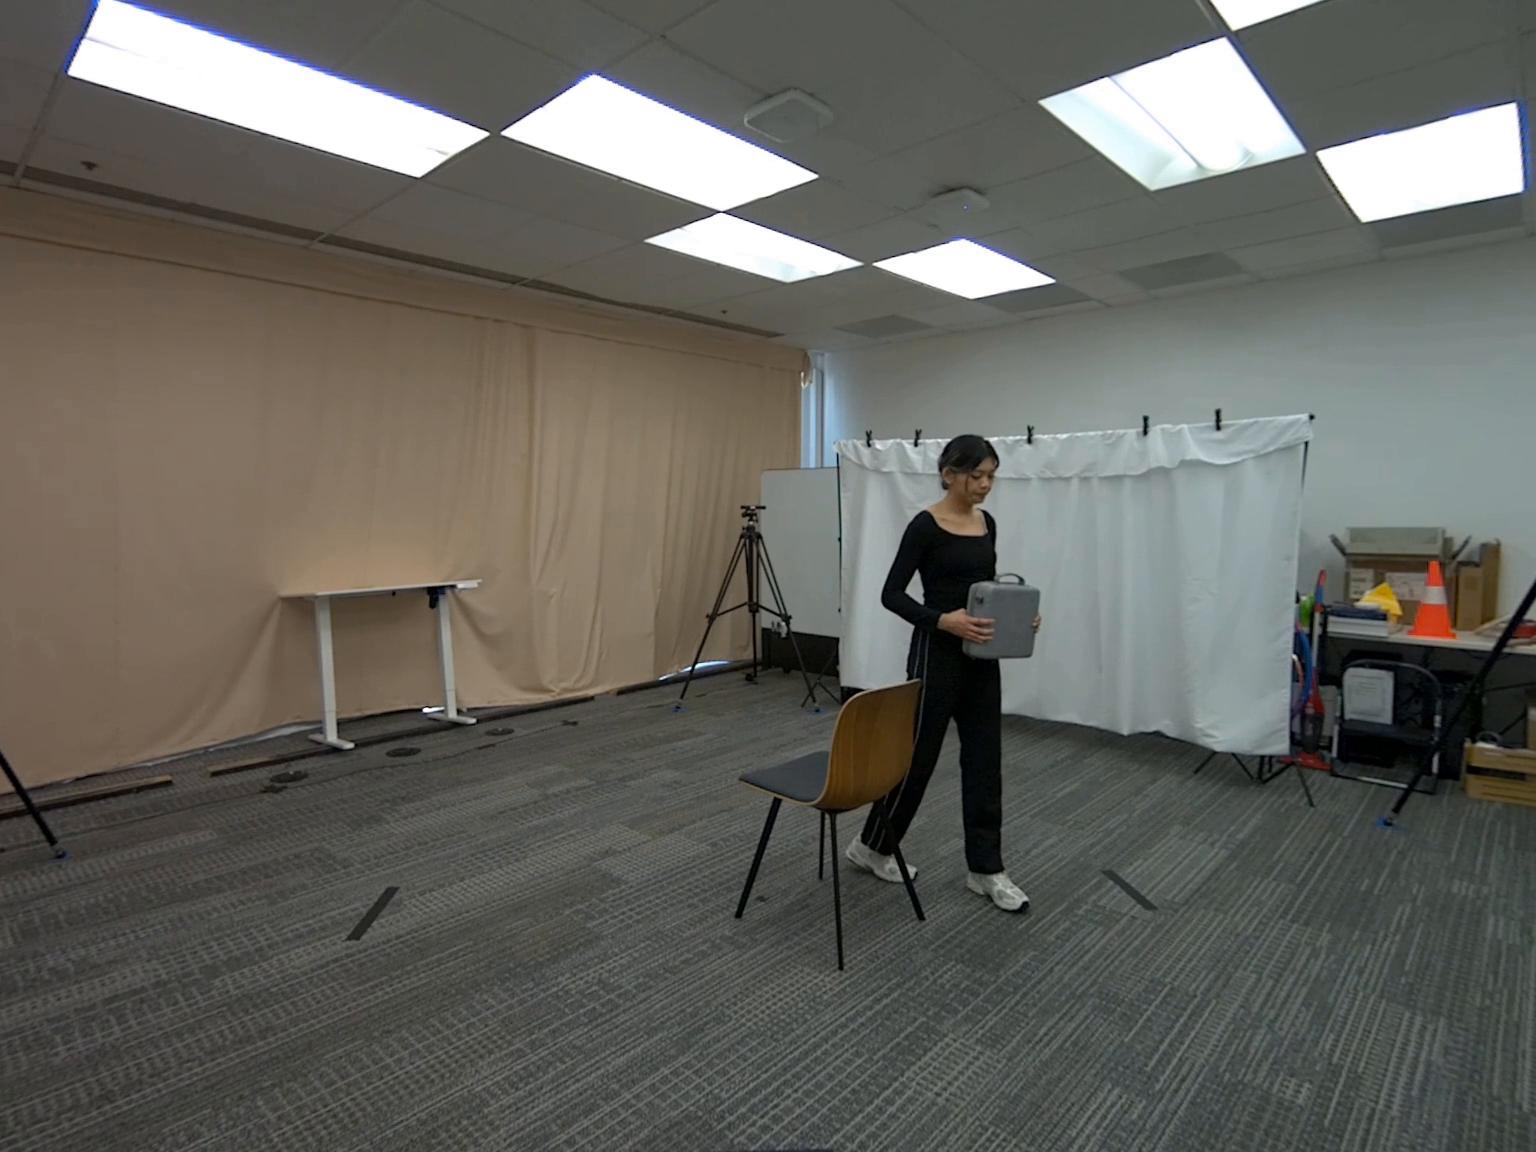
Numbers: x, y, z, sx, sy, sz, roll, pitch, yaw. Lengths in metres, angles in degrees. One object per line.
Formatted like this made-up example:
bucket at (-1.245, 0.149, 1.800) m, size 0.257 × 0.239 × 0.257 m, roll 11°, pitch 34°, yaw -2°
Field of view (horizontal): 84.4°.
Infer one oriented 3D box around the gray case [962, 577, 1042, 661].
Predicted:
gray case at (0.789, 0.147, 2.839) m, size 0.250 × 0.260 × 0.107 m, roll 2°, pitch 8°, yaw -28°
